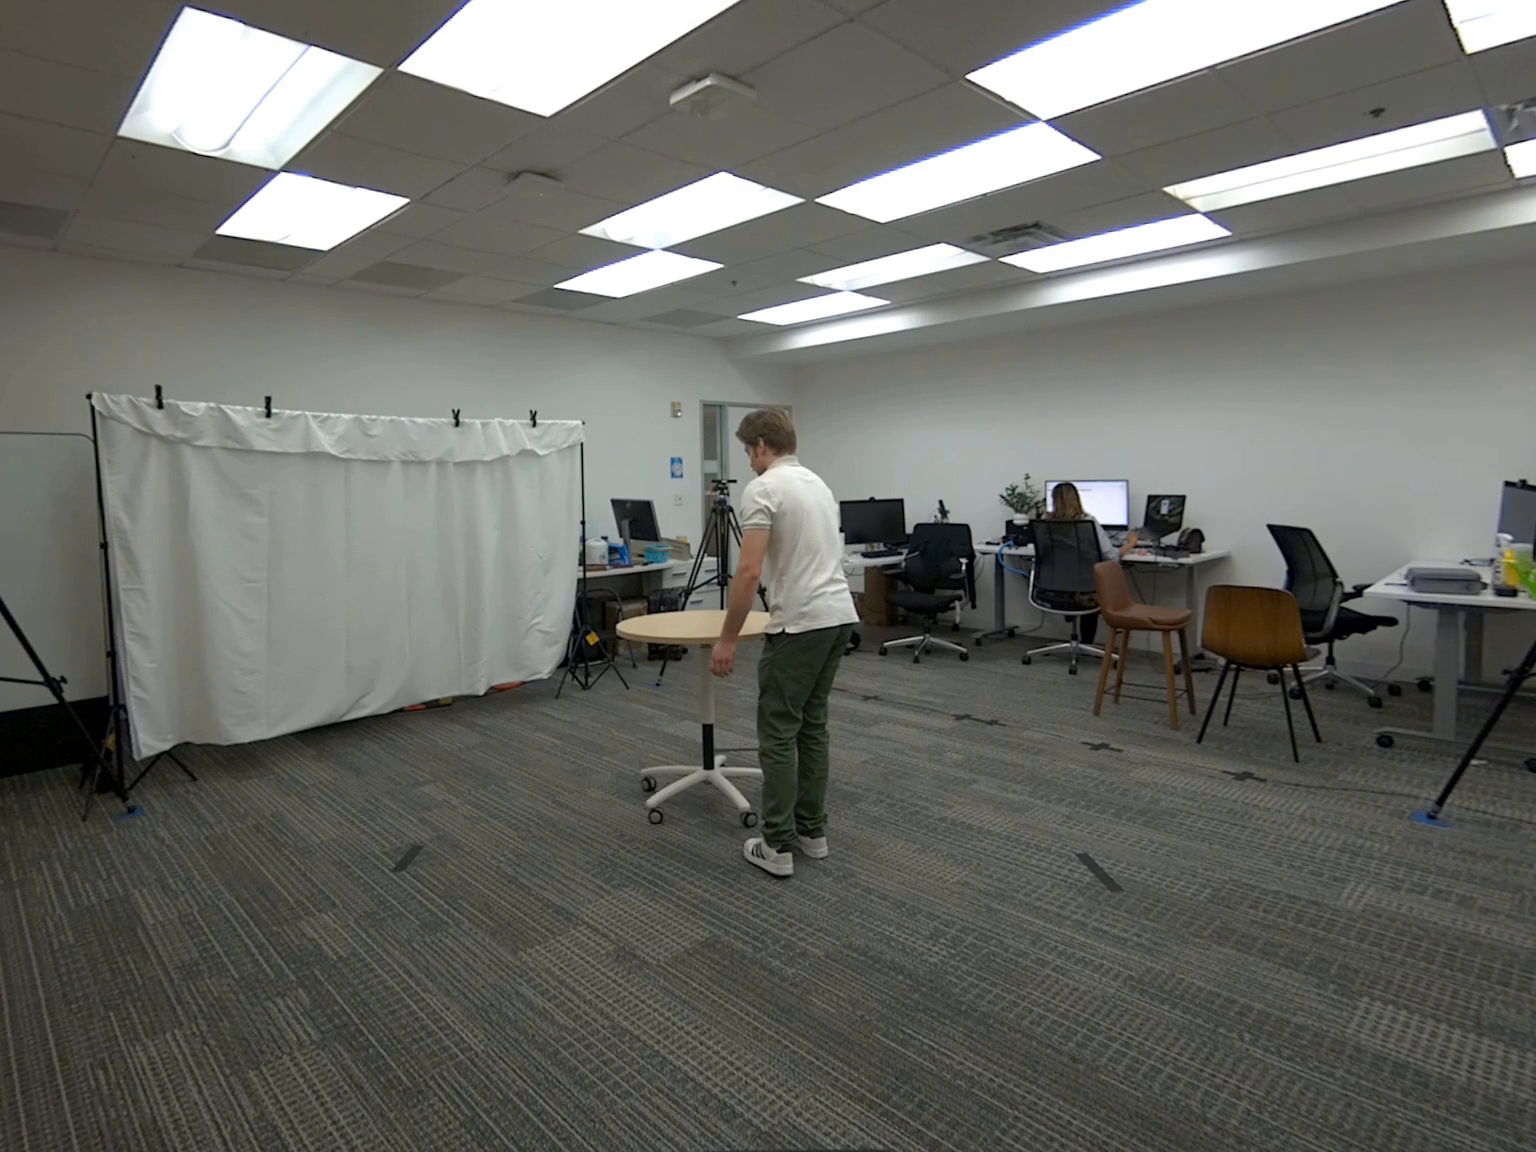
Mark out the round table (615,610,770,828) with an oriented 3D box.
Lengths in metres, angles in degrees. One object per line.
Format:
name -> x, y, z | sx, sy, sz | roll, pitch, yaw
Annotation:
round table -> -0.266, 0.595, 3.723 | 0.763, 0.791, 0.767 | -2, 4, -2
